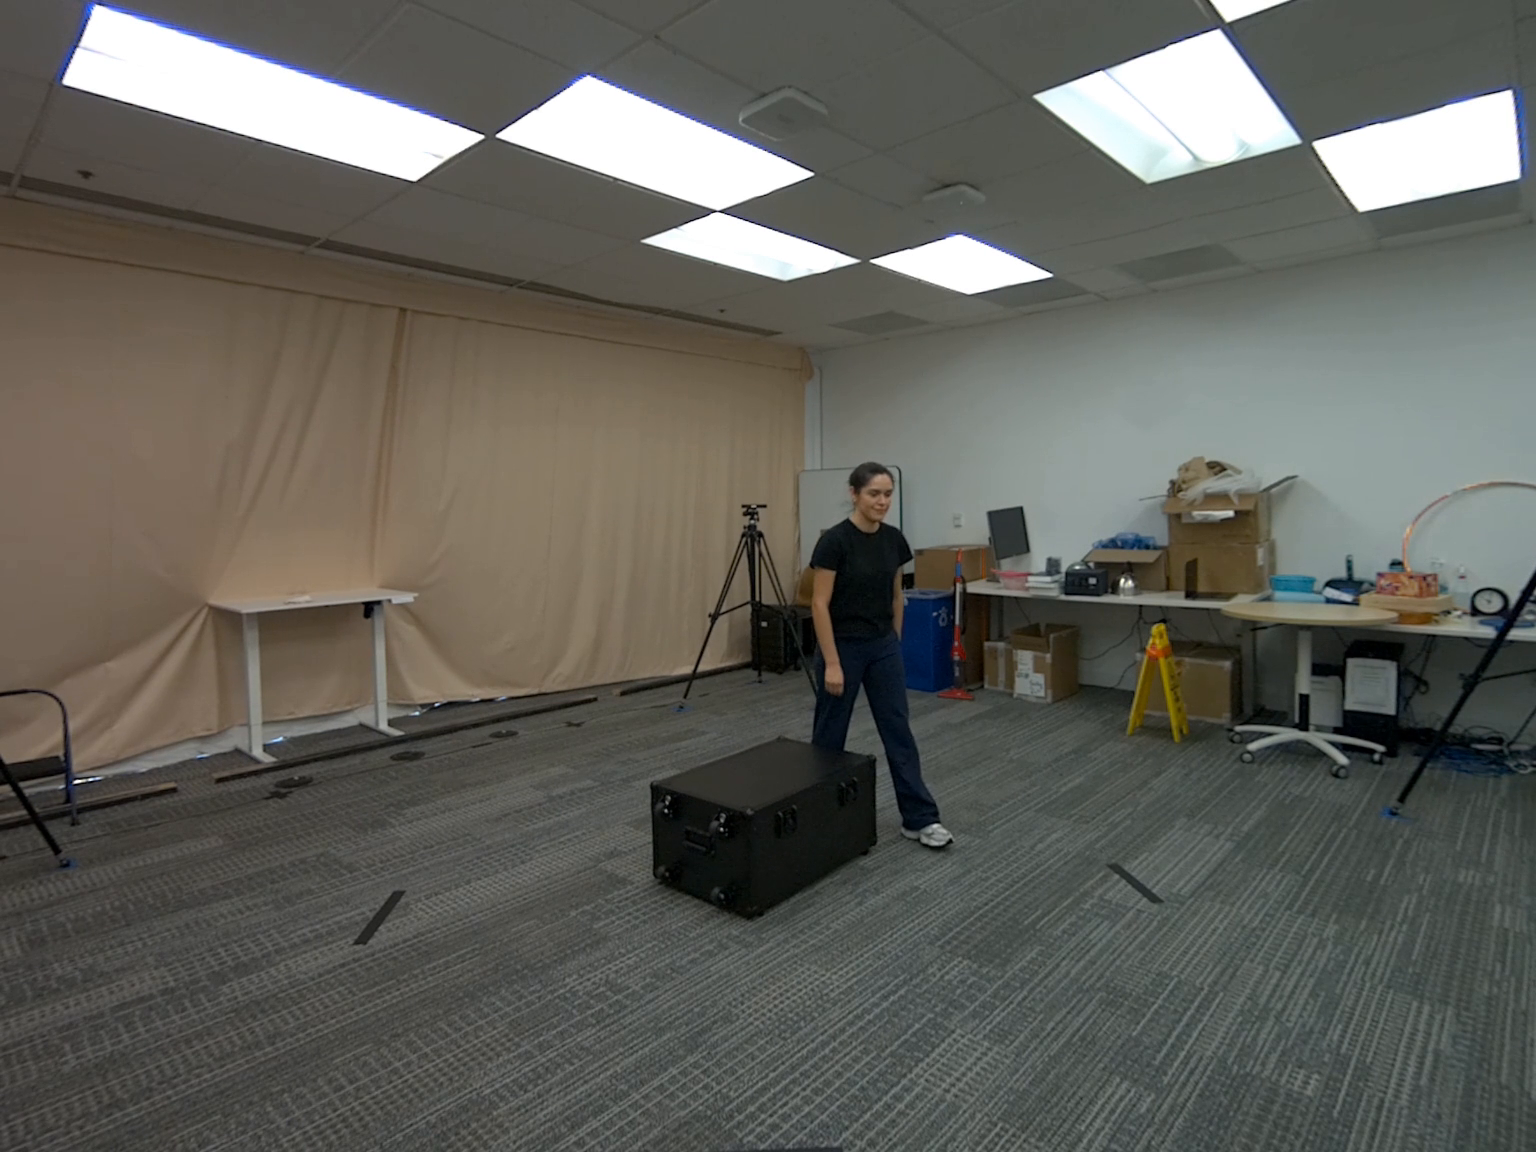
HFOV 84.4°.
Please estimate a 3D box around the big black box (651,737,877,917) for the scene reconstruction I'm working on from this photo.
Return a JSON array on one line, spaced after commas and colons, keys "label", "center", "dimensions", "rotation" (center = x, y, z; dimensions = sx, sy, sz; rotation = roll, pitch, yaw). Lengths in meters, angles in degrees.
[{"label": "big black box", "center": [-0.010, 0.932, 3.210], "dimensions": [0.538, 0.395, 0.835], "rotation": [2, 5, 40]}]
